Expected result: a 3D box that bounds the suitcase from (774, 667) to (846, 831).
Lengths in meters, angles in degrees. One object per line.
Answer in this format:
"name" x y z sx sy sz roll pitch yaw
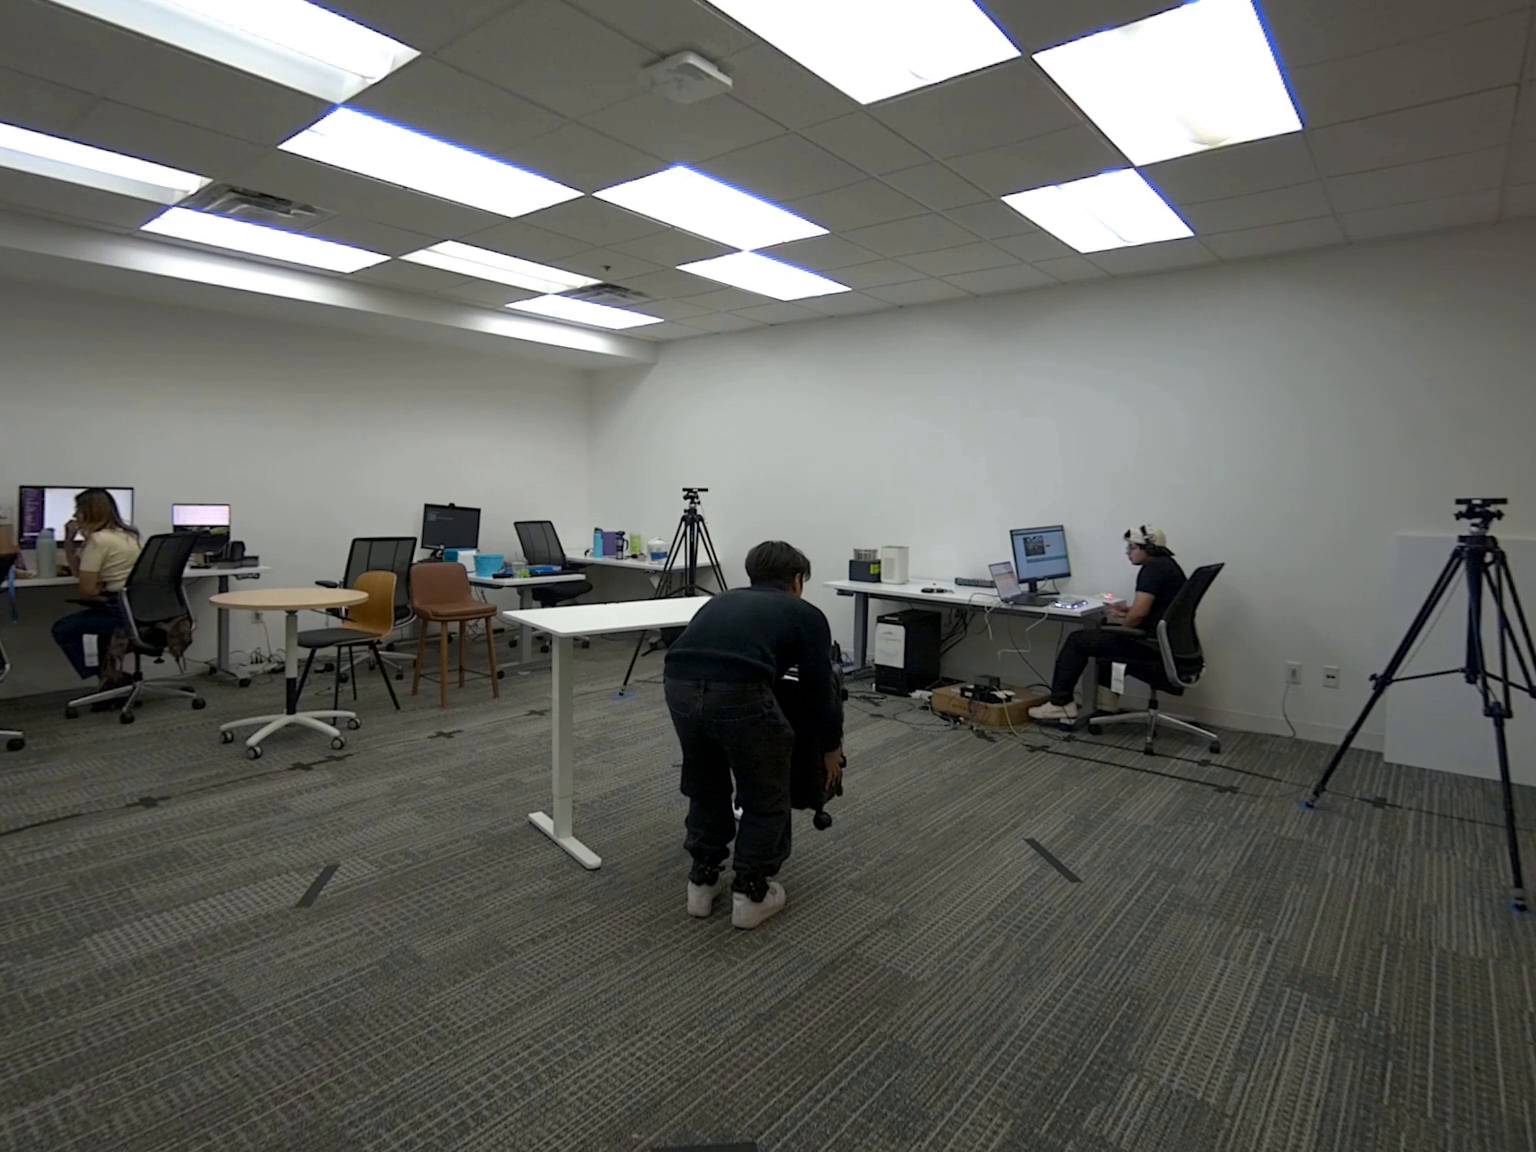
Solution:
"suitcase" 0.075 0.563 3.056 0.385 0.543 0.245 6 12 23
